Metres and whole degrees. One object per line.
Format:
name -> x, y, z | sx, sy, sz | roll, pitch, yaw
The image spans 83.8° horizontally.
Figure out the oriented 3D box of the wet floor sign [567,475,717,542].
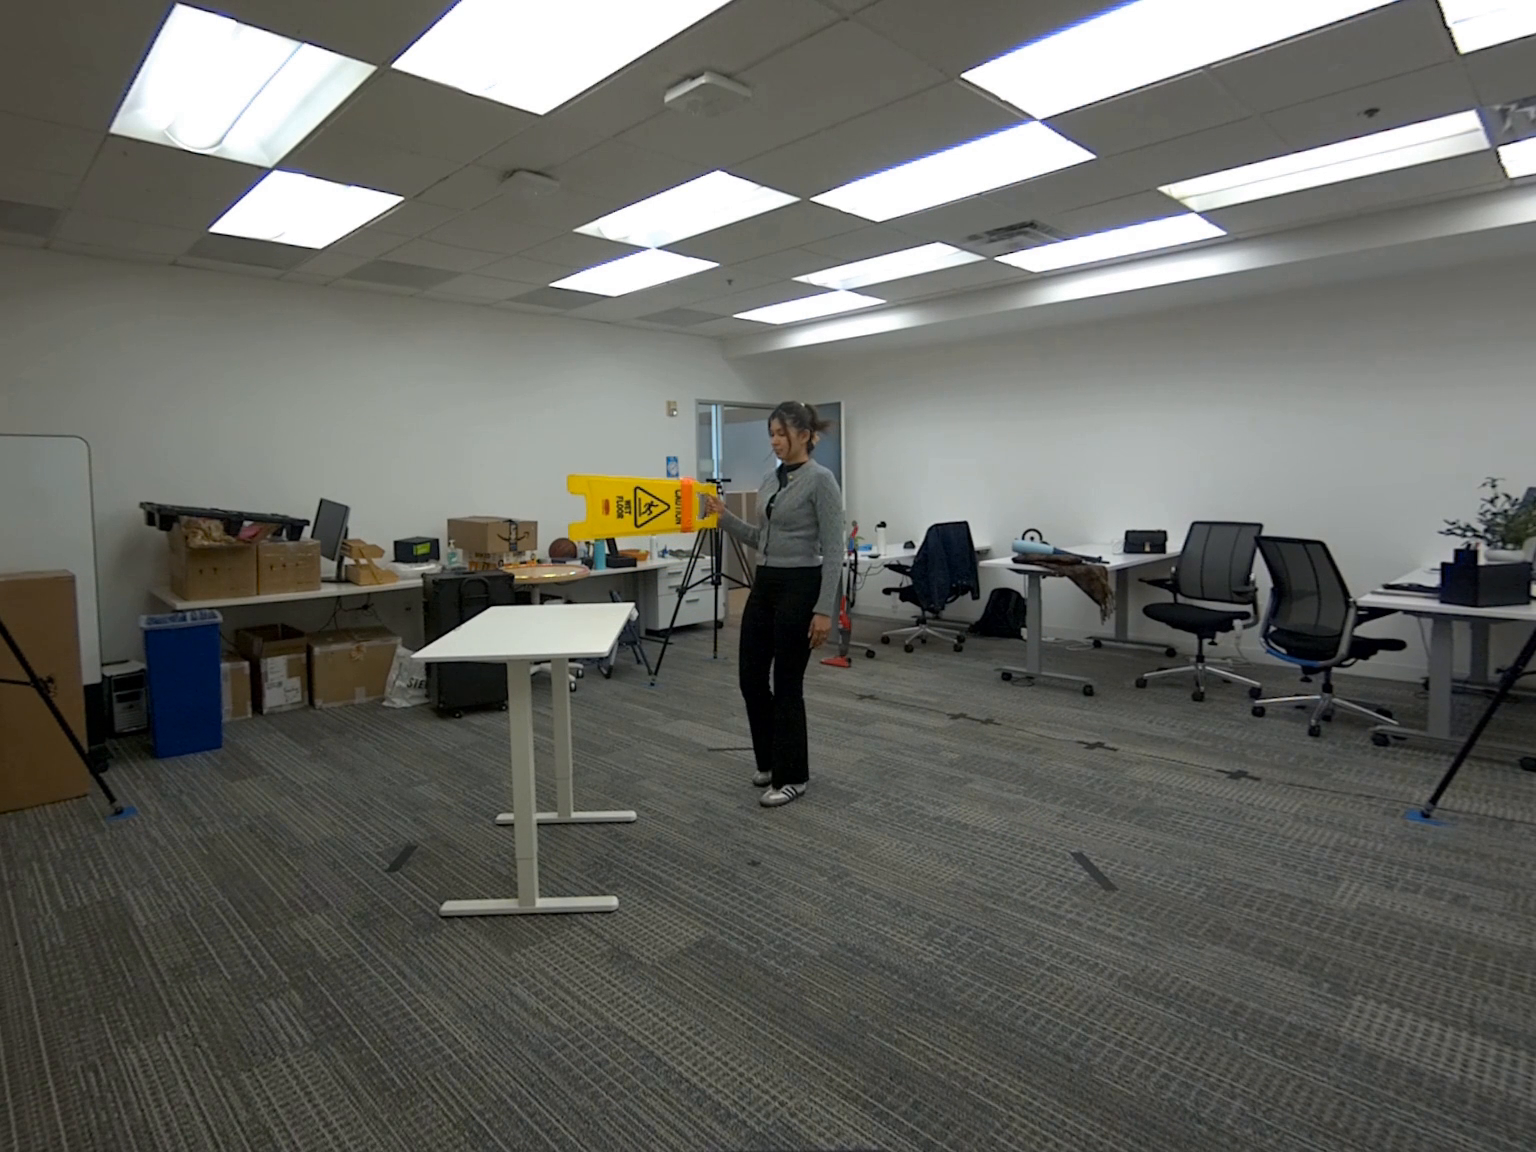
wet floor sign -> -0.539, -0.301, 3.743 | 0.641, 0.282, 0.292 | -2, 2, -8
